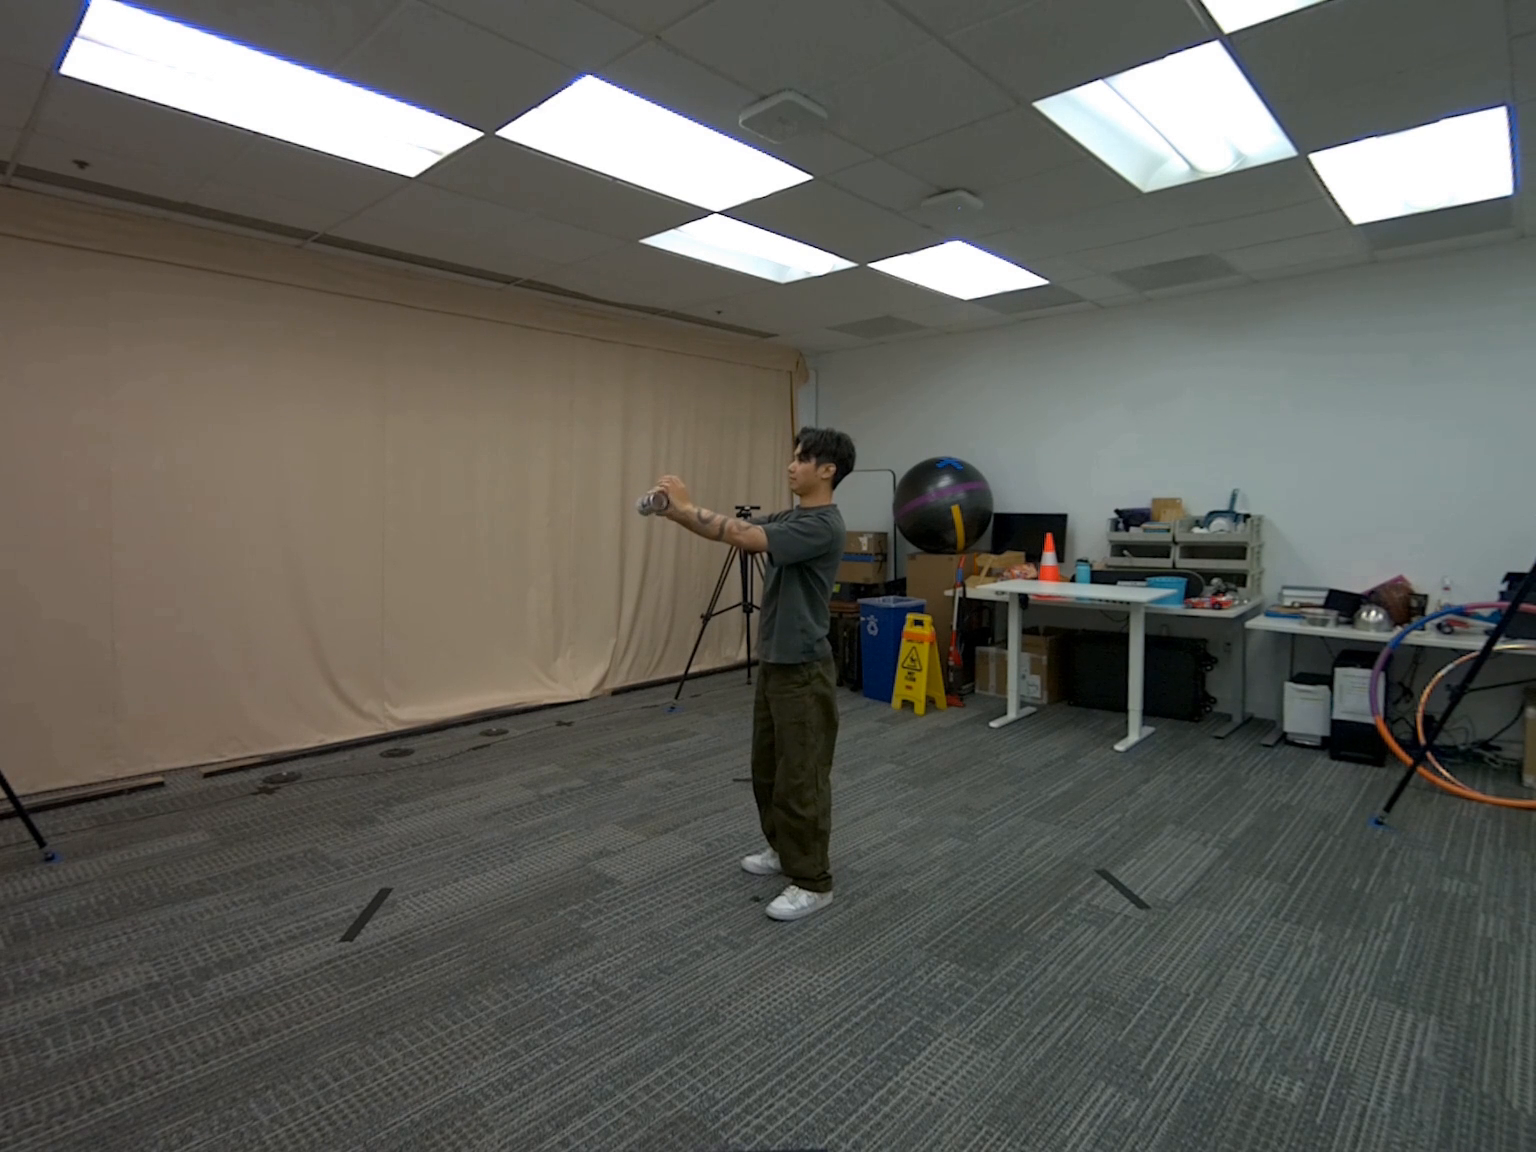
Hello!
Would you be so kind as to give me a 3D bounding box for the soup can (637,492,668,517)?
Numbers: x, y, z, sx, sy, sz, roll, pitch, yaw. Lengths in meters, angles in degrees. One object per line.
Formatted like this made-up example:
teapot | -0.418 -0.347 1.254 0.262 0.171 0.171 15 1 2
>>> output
soup can | -0.409 -0.253 2.936 0.065 0.067 0.124 -2 -6 -35
